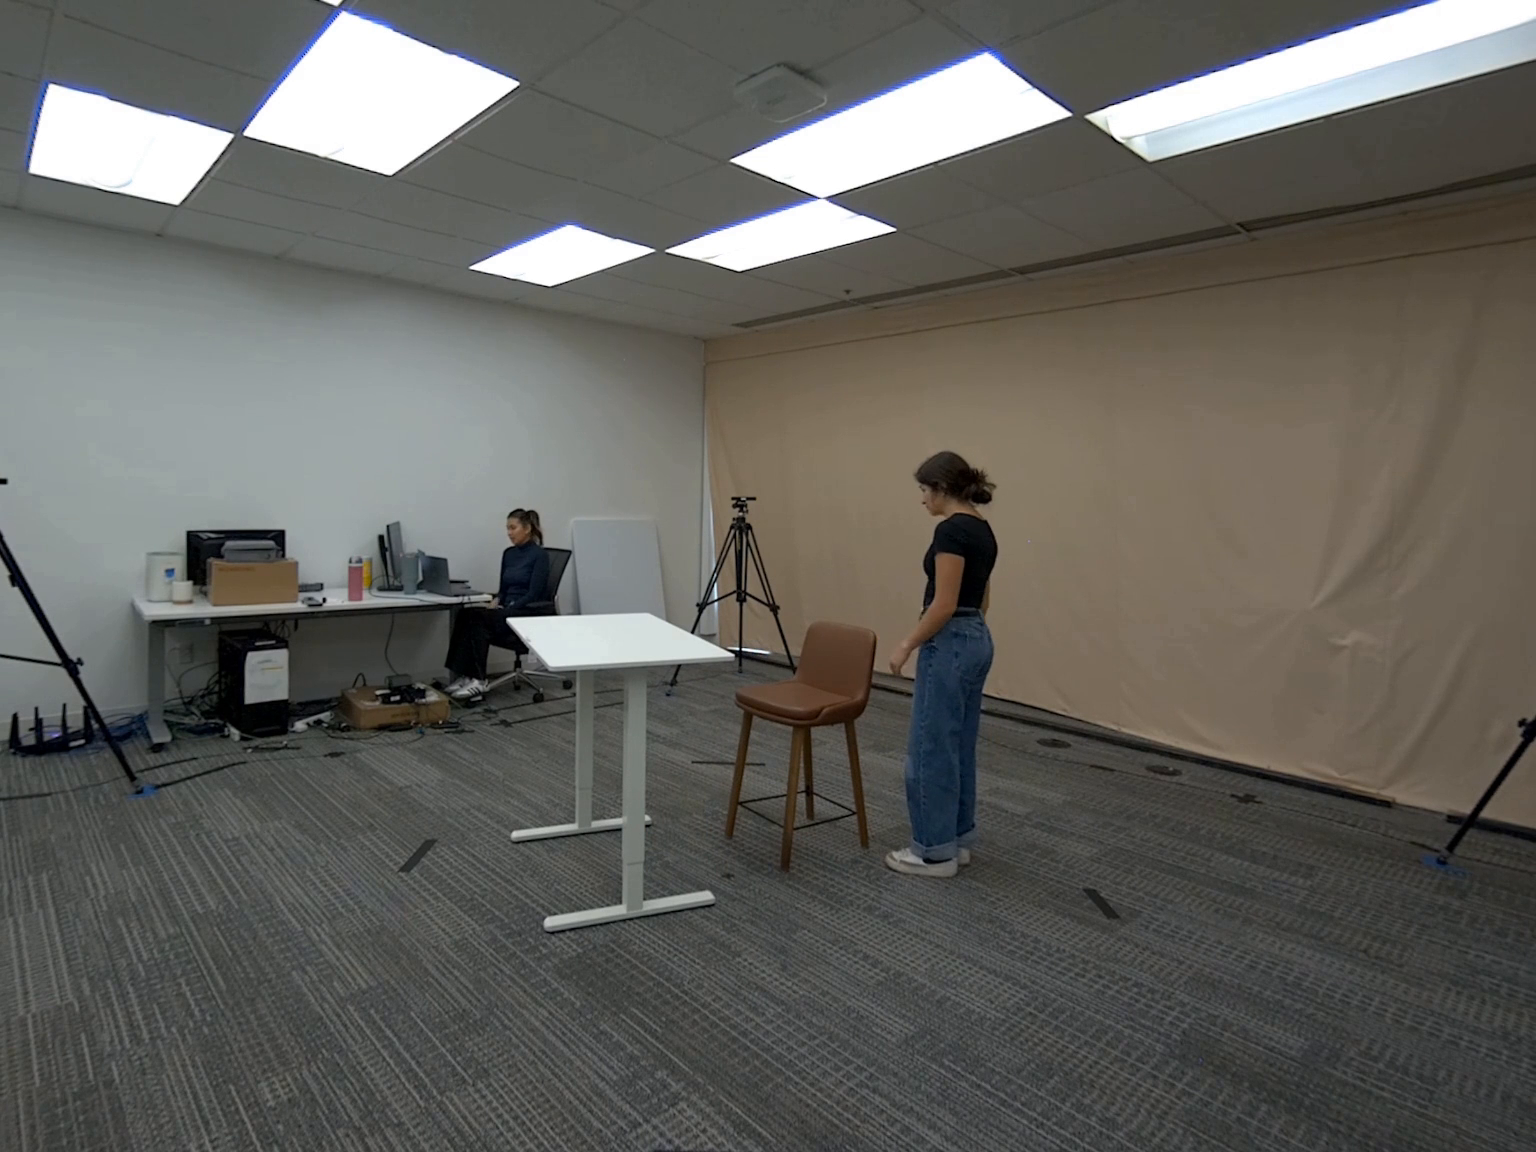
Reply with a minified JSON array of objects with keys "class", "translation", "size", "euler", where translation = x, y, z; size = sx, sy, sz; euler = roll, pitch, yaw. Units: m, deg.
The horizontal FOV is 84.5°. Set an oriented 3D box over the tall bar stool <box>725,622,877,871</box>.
[{"class":"tall bar stool","translation":[0.131,0.646,3.413],"size":[0.457,0.889,0.467],"euler":[2,2,-35]}]
